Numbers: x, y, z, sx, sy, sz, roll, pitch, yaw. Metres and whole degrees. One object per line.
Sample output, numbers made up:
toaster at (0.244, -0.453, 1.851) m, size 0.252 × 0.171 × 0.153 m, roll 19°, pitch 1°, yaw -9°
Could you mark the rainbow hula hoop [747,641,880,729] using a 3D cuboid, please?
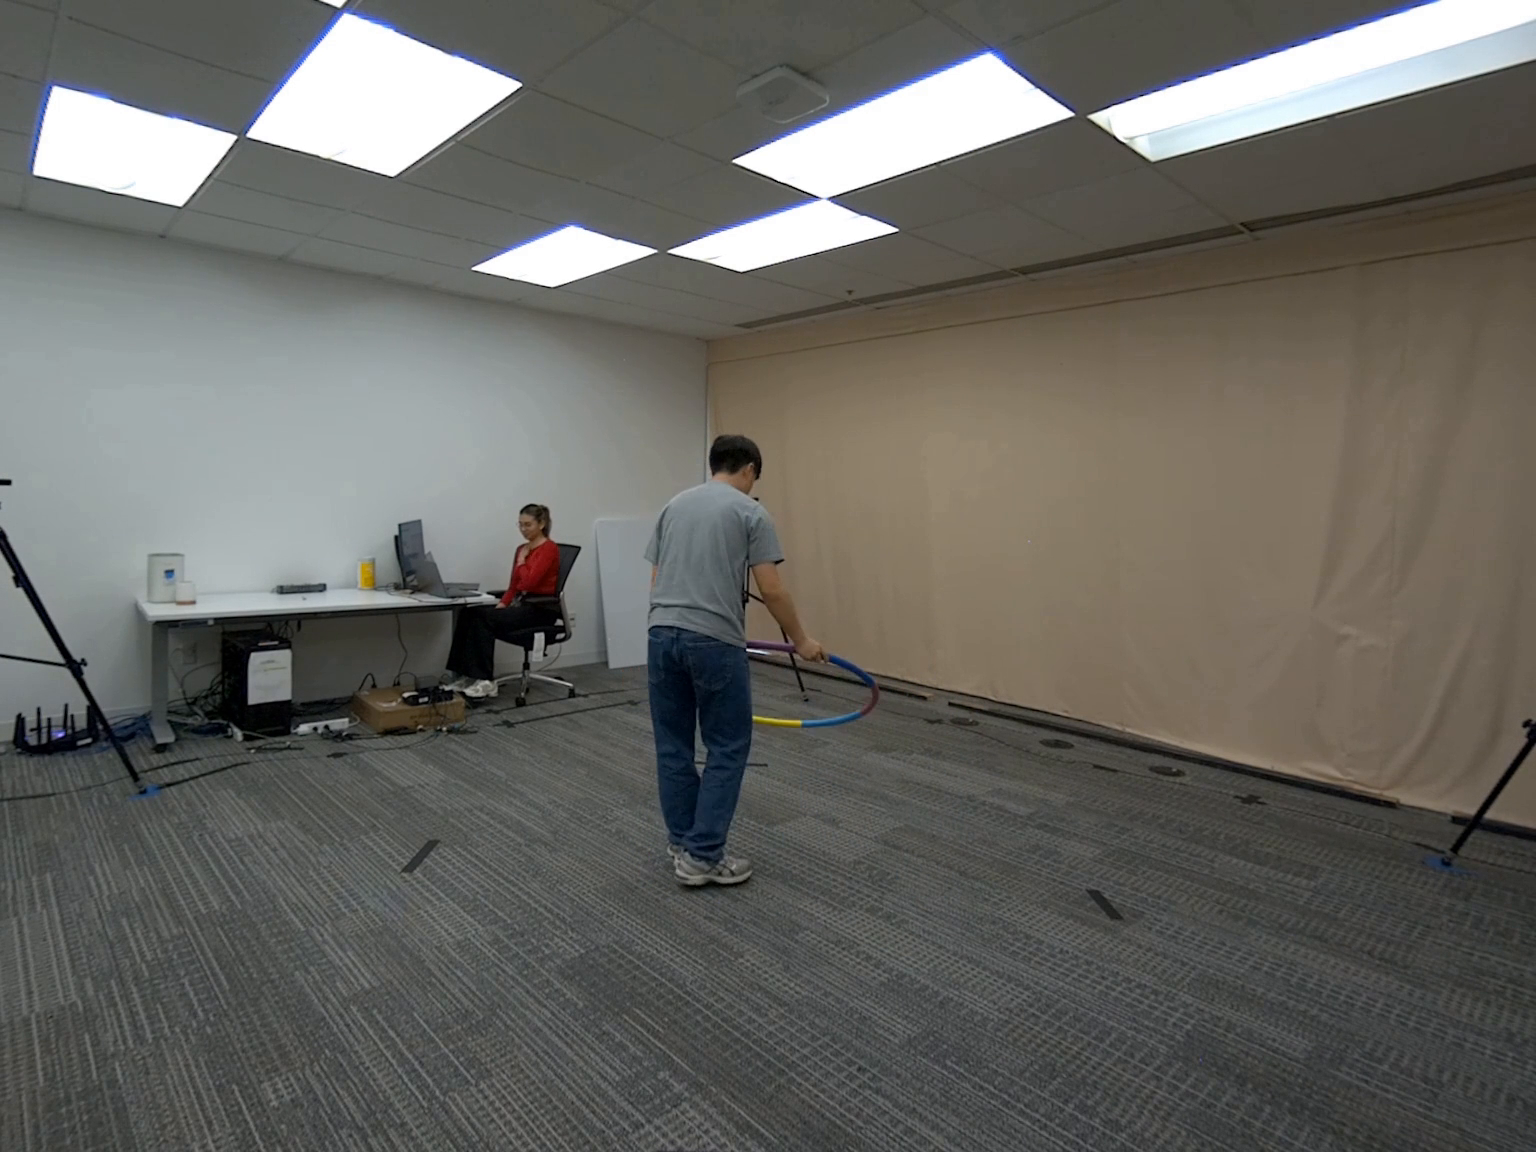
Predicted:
rainbow hula hoop at (-0.027, 0.475, 3.612) m, size 0.982 × 0.036 × 0.961 m, roll 8°, pitch -27°, yaw 3°
